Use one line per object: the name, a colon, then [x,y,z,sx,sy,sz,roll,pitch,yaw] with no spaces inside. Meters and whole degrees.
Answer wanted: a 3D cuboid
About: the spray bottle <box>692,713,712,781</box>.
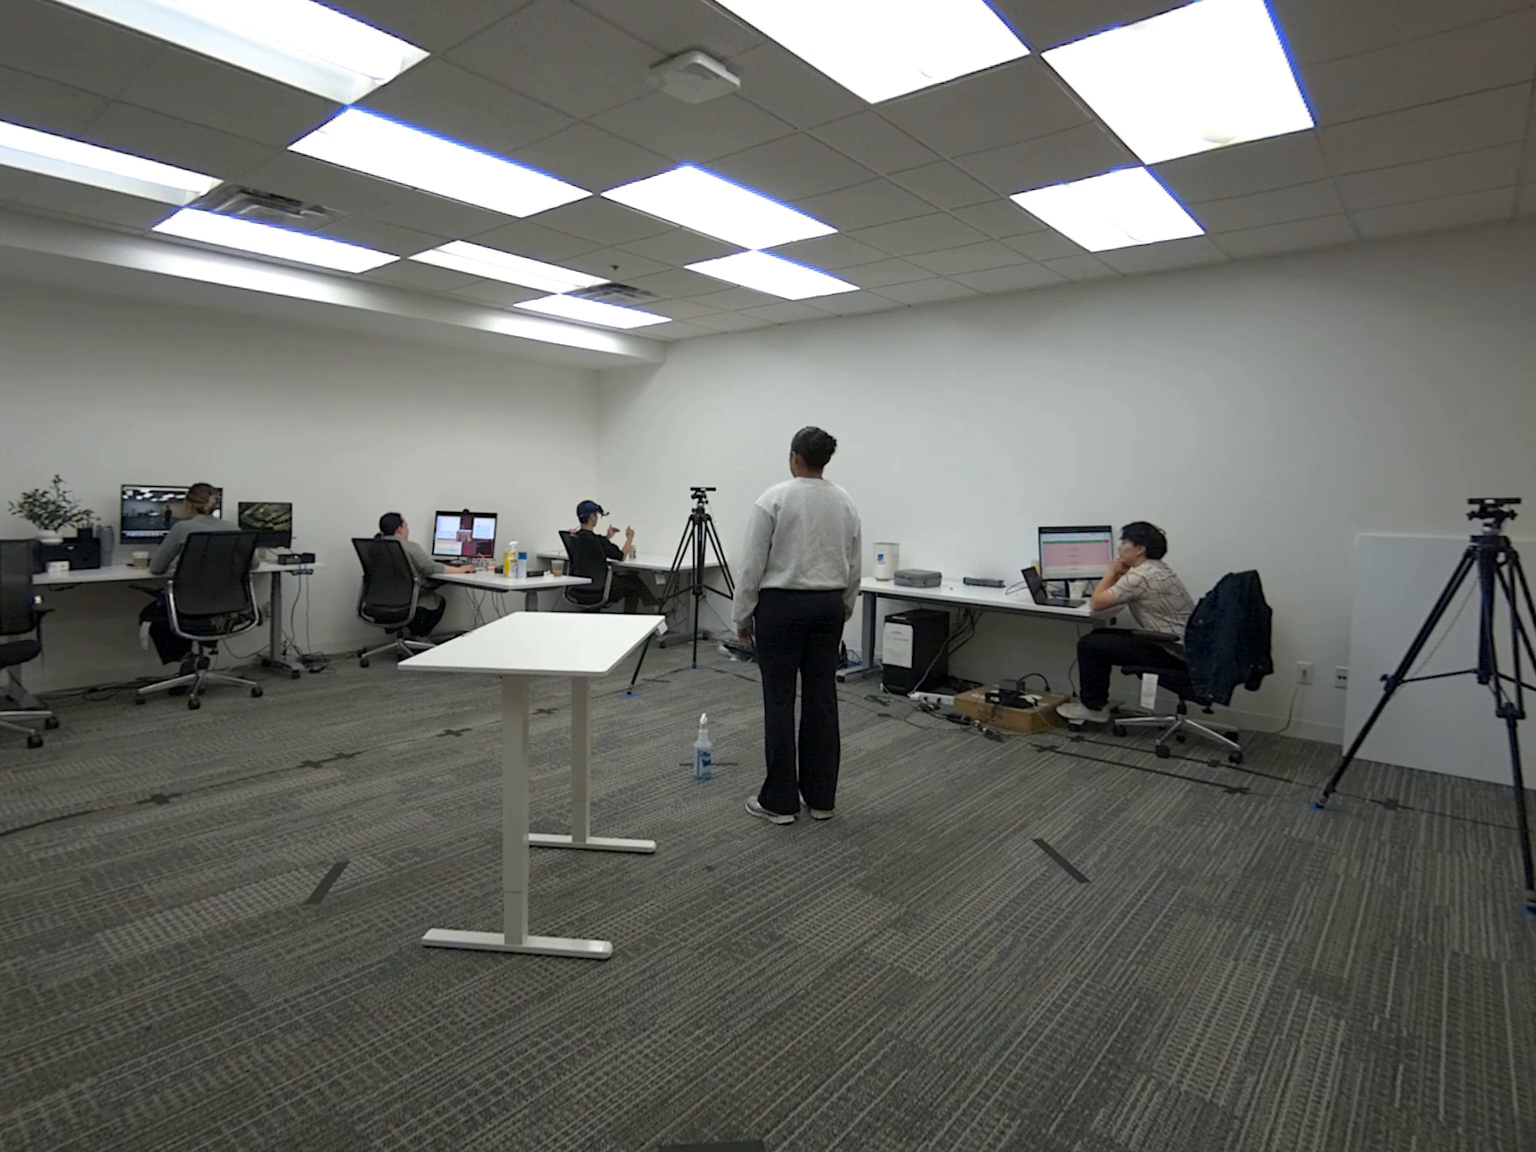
spray bottle: [-0.327,0.822,4.111,0.089,0.297,0.088,2,2,26]
